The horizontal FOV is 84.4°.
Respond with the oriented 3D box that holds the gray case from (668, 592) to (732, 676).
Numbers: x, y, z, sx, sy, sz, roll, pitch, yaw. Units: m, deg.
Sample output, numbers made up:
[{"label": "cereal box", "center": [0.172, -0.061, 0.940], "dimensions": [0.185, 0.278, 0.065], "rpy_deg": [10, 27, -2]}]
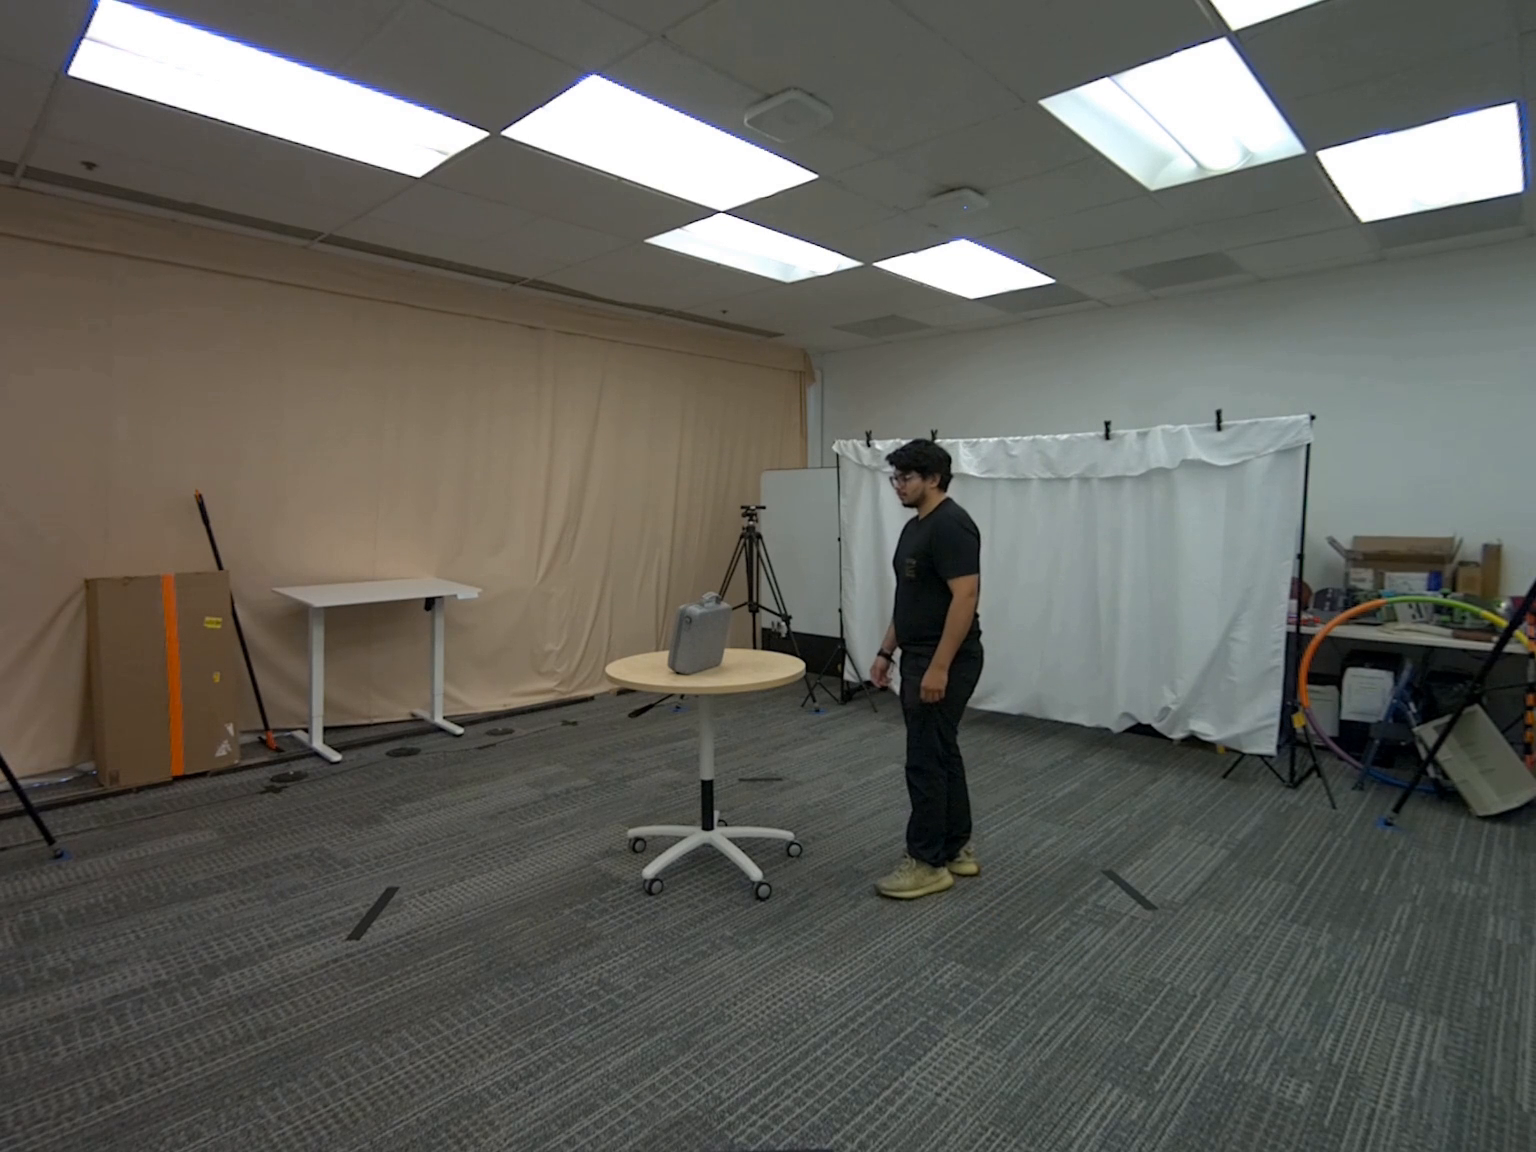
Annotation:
[{"label": "gray case", "center": [-0.248, 0.223, 3.142], "dimensions": [0.107, 0.259, 0.250], "rpy_deg": [16, 12, 27]}]
